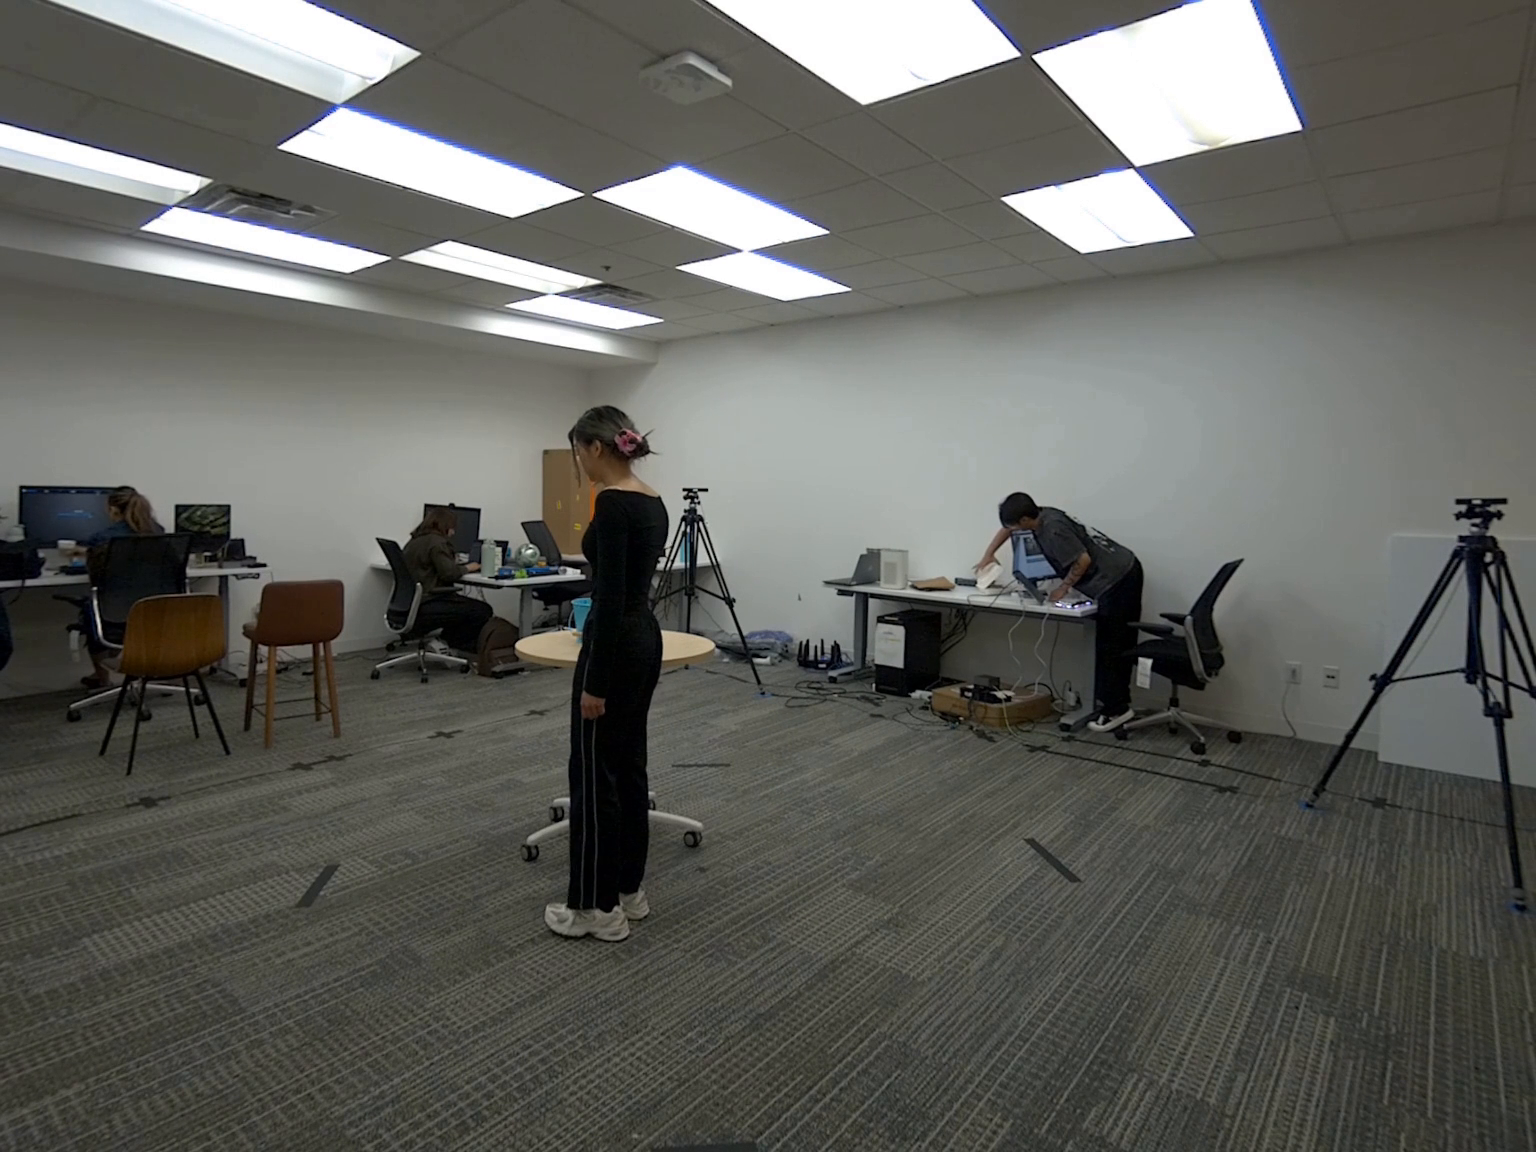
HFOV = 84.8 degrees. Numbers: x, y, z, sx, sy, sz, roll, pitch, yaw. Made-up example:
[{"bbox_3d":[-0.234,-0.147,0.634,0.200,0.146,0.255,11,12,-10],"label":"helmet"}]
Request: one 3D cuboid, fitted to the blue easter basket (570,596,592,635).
[{"bbox_3d":[-0.690,0.179,3.364,0.243,0.155,0.244,2,4,-2],"label":"blue easter basket"}]
